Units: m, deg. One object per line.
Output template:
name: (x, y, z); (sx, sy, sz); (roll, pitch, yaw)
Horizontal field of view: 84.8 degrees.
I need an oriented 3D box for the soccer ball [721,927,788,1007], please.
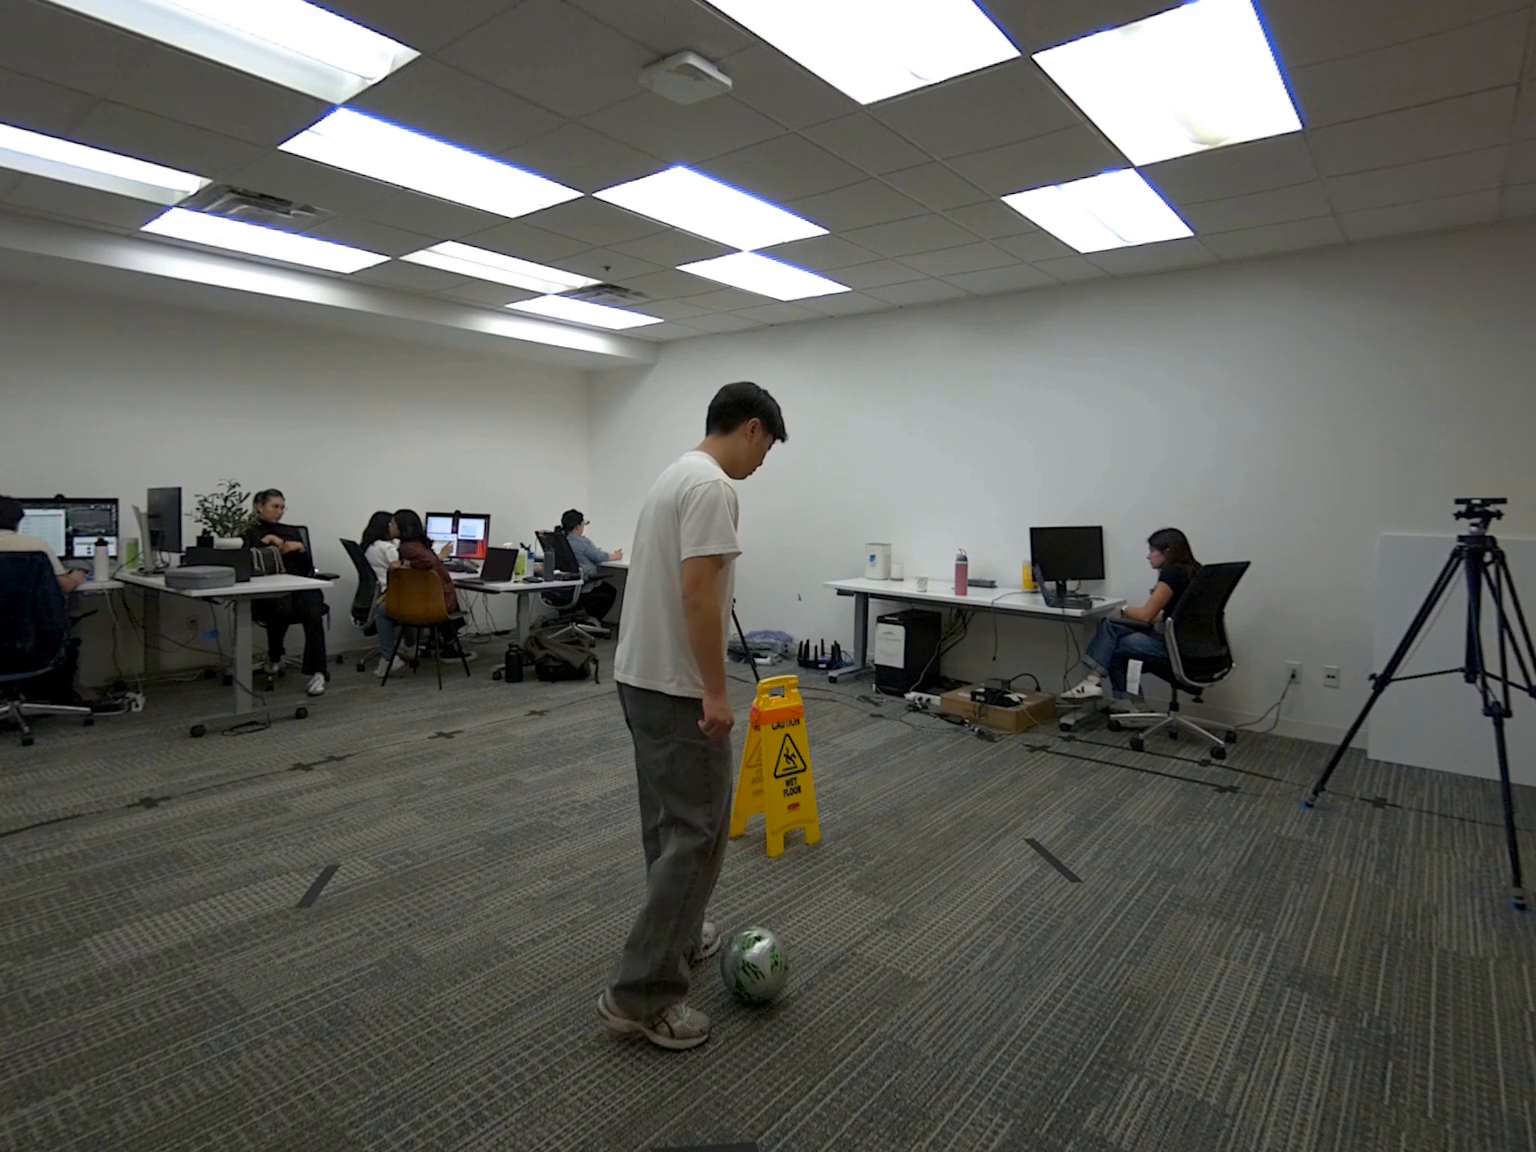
soccer ball: (-0.034, 1.060, 2.324); (0.187, 0.187, 0.188); (1, 4, -2)
